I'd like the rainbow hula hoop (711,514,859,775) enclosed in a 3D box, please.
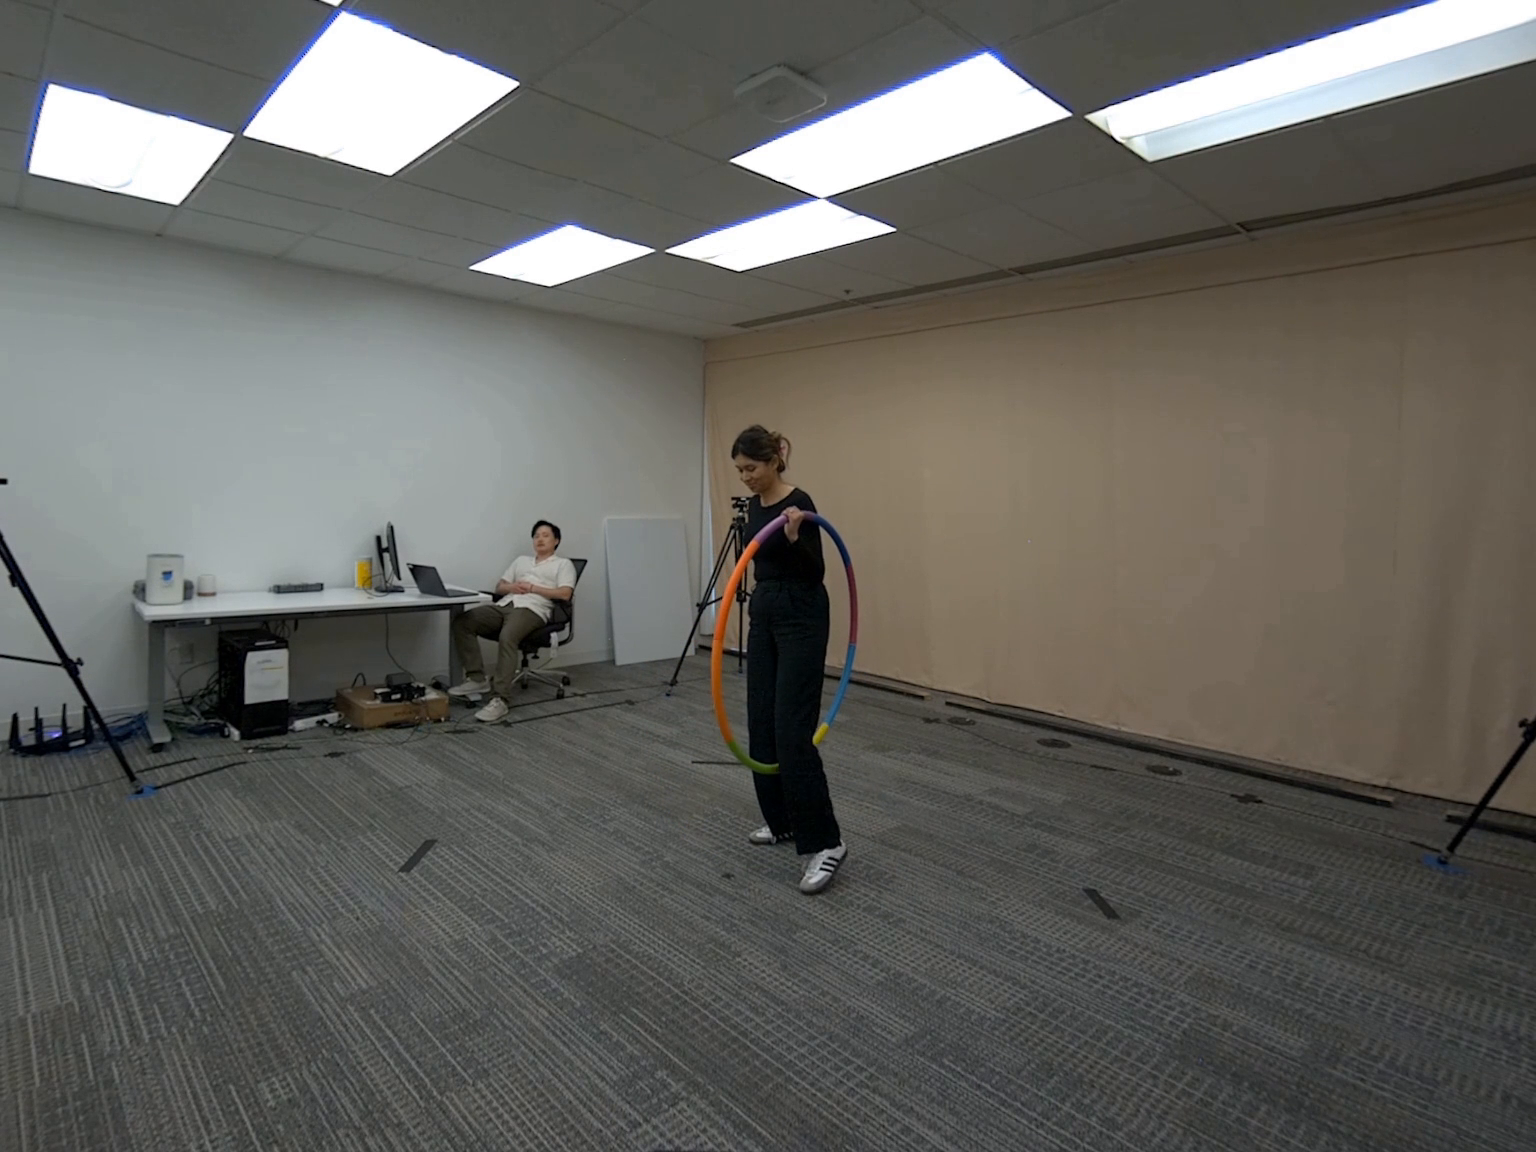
[{"bbox_3d":[0.092,0.248,3.178,0.036,0.975,0.958,7,6,34],"label":"rainbow hula hoop"}]
